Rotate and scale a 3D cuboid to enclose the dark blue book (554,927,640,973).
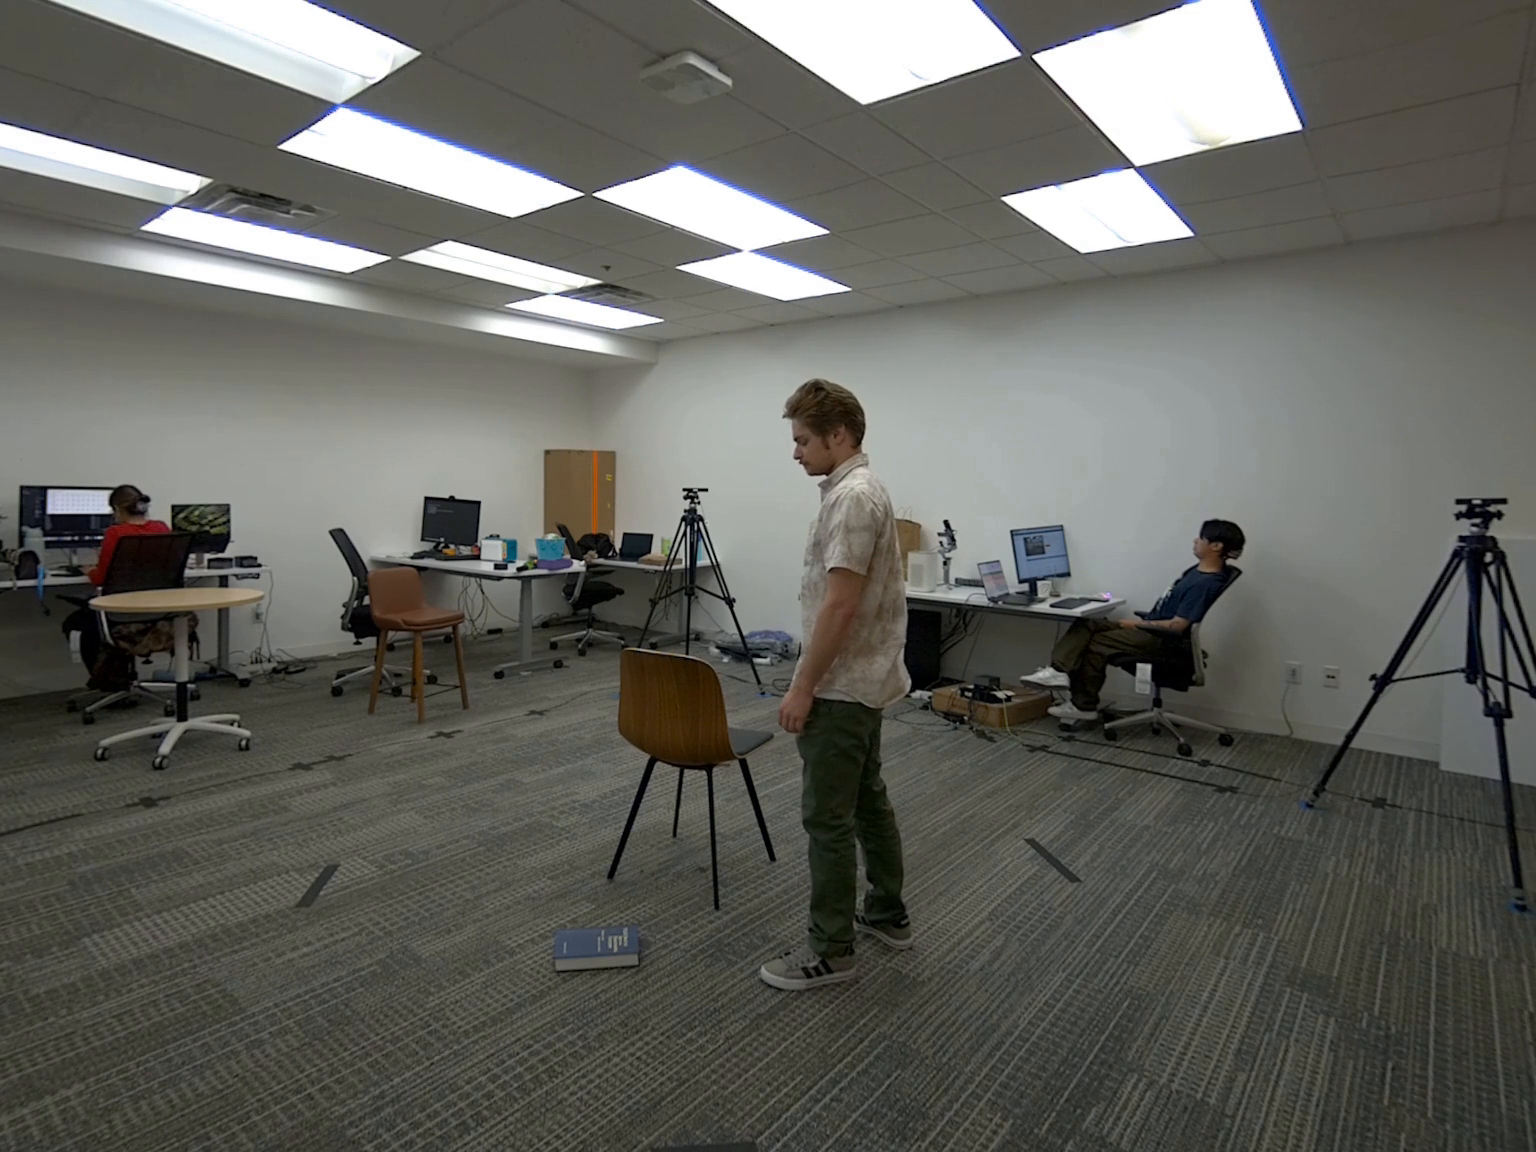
[{"bbox_3d":[-0.517,1.100,2.520,0.243,0.045,0.166,0,6,-10],"label":"dark blue book"}]
